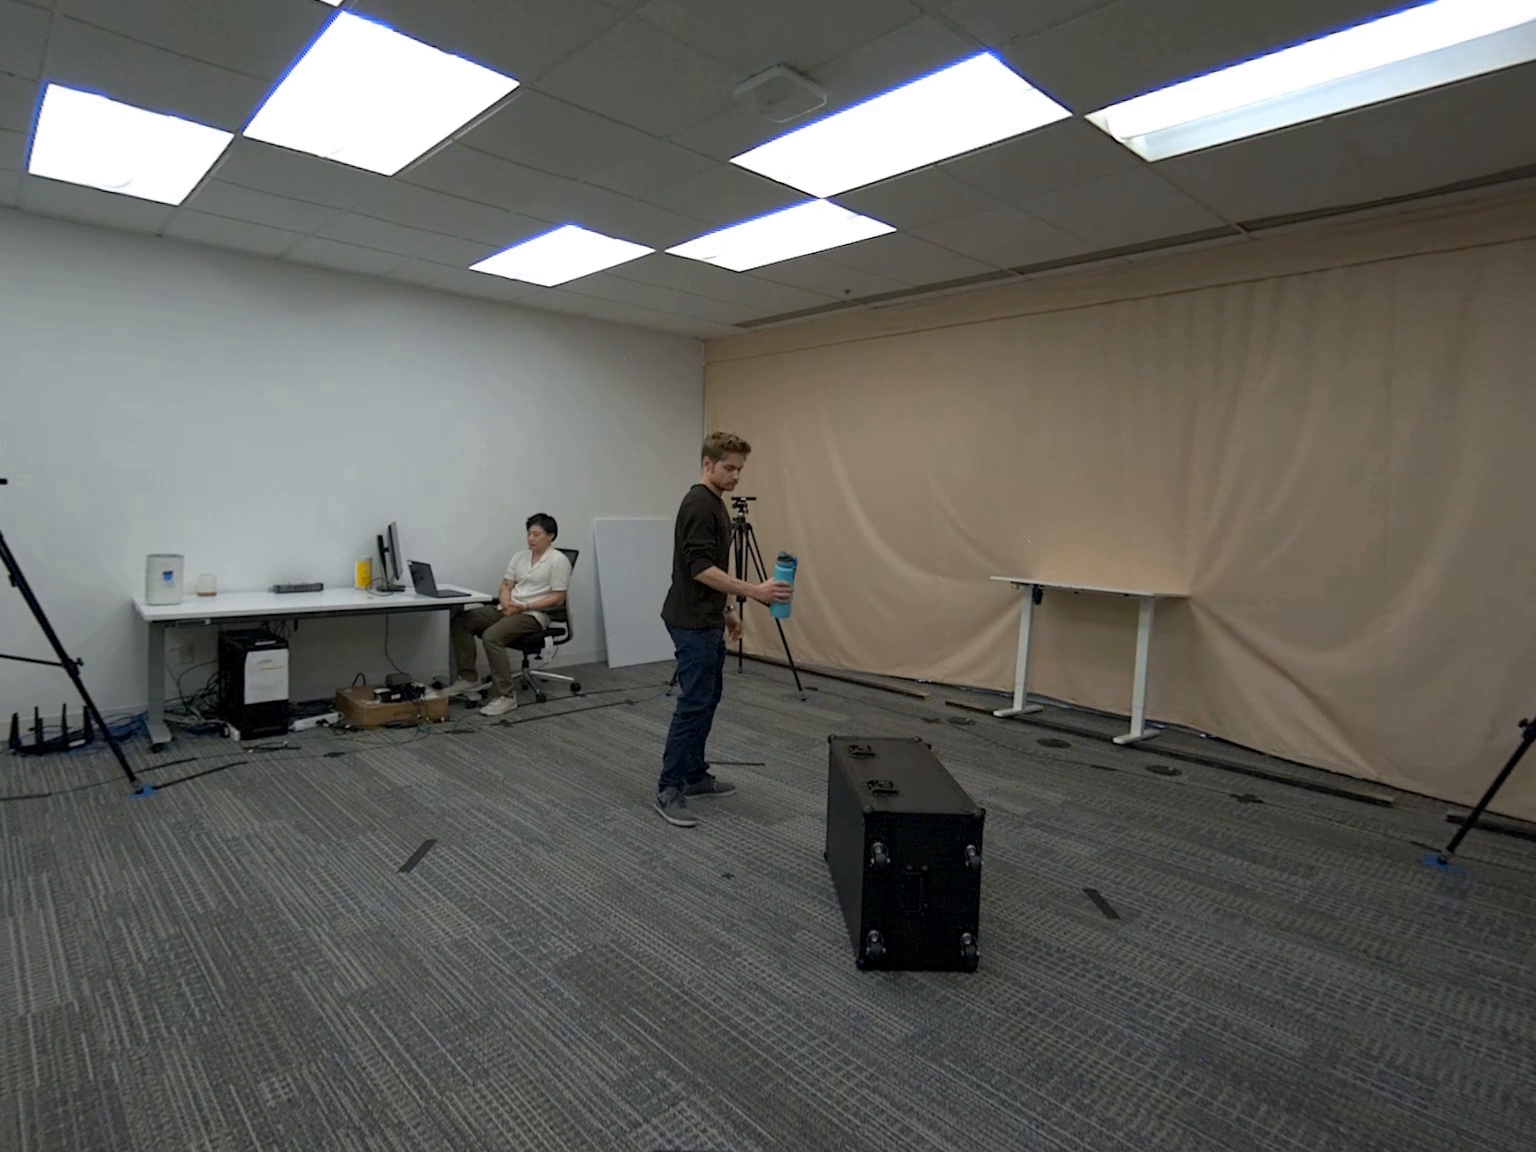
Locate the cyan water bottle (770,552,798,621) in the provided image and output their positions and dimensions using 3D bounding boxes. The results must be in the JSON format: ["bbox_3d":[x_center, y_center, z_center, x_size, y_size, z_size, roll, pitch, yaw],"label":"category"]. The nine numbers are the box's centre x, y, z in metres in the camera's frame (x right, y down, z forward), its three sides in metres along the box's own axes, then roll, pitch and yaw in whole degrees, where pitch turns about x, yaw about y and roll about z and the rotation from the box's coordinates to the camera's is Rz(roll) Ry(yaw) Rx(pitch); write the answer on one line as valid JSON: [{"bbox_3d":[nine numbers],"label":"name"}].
[{"bbox_3d":[0.059,0.035,3.584,0.092,0.281,0.093,8,14,-4],"label":"cyan water bottle"}]
